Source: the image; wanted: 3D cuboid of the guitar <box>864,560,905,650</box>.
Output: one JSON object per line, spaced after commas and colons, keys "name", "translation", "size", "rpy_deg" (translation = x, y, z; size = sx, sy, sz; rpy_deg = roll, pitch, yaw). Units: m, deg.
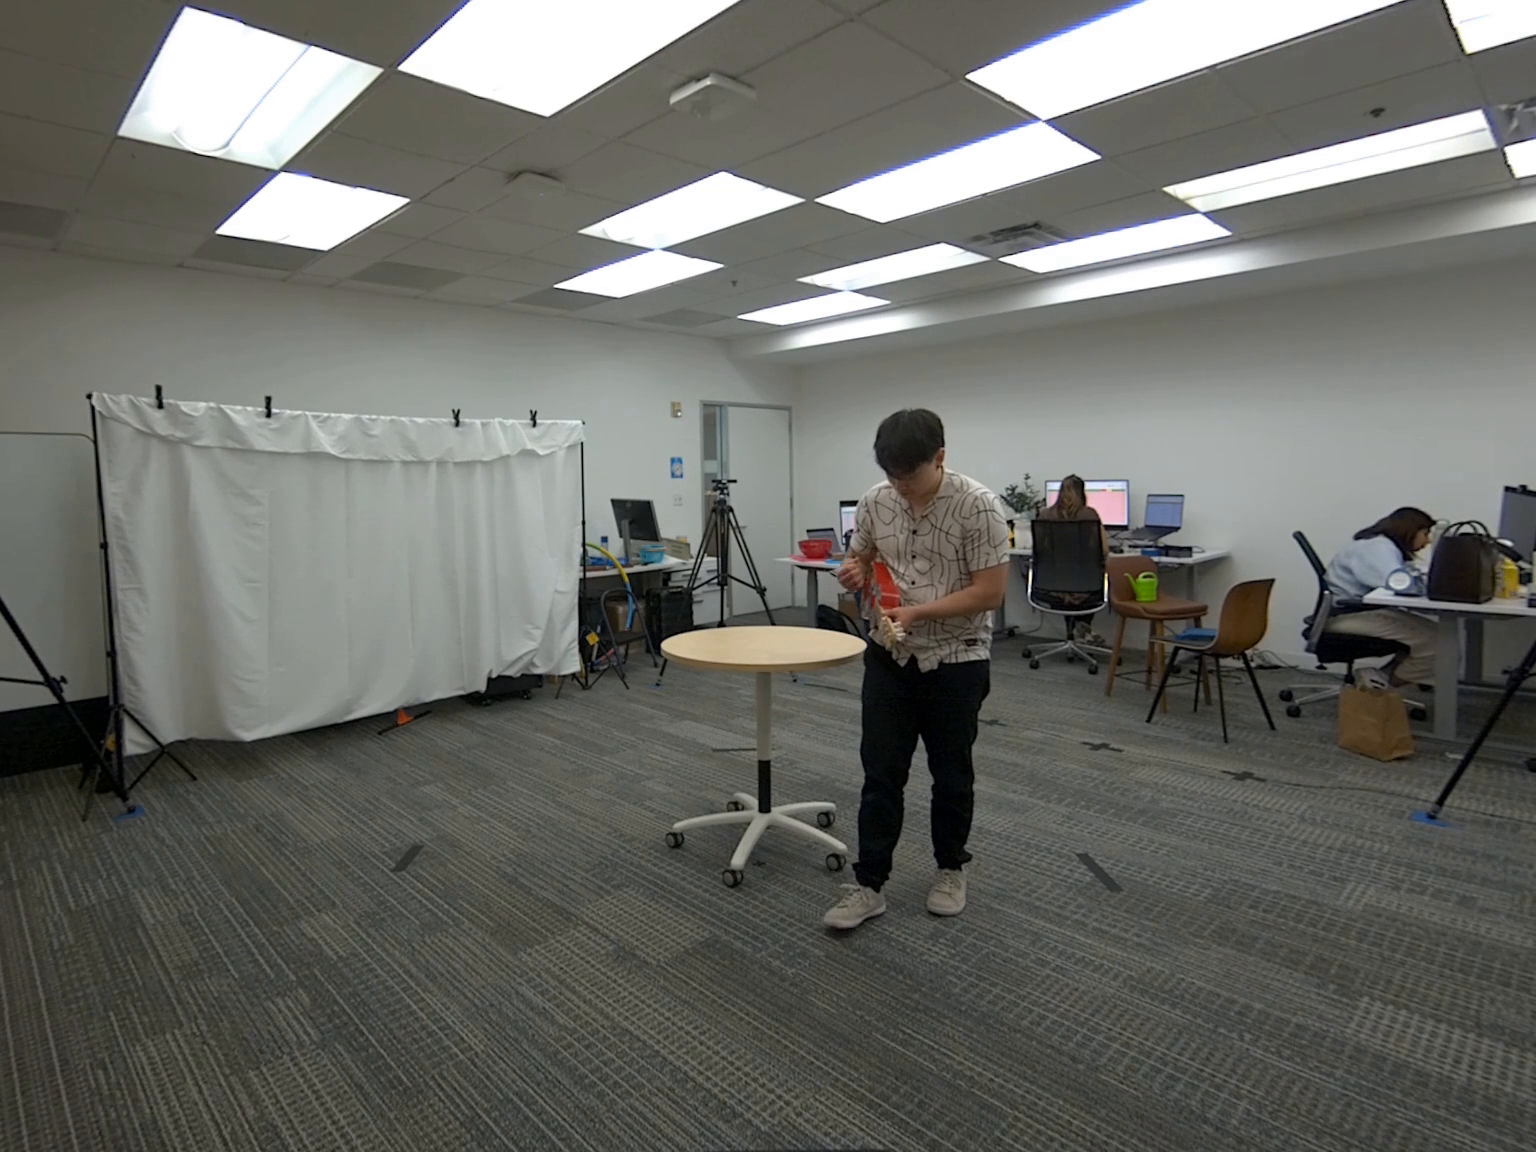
{"name": "guitar", "translation": [0.352, 0.134, 2.623], "size": [0.070, 0.190, 0.507], "rpy_deg": [9, 25, -3]}
